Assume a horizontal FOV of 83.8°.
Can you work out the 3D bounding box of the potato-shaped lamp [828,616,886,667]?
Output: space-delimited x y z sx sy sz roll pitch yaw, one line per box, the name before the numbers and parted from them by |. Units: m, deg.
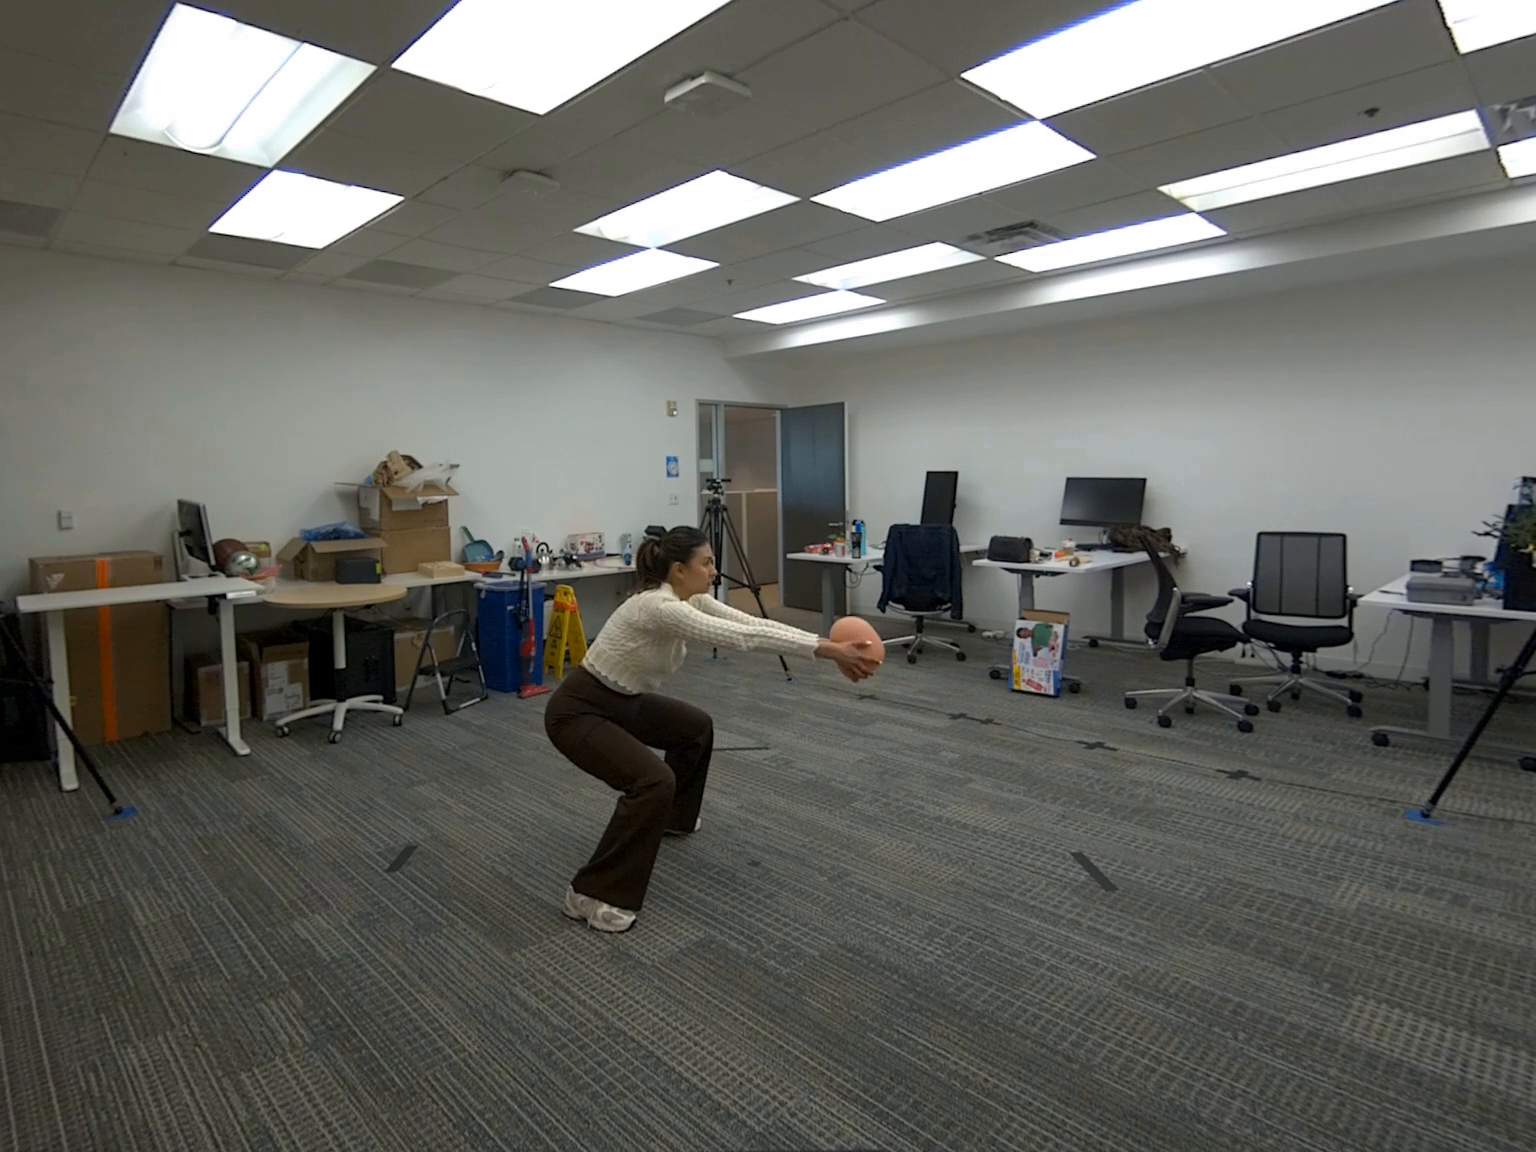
potato-shaped lamp | 0.283 0.250 2.875 0.172 0.199 0.164 -34 -2 8
